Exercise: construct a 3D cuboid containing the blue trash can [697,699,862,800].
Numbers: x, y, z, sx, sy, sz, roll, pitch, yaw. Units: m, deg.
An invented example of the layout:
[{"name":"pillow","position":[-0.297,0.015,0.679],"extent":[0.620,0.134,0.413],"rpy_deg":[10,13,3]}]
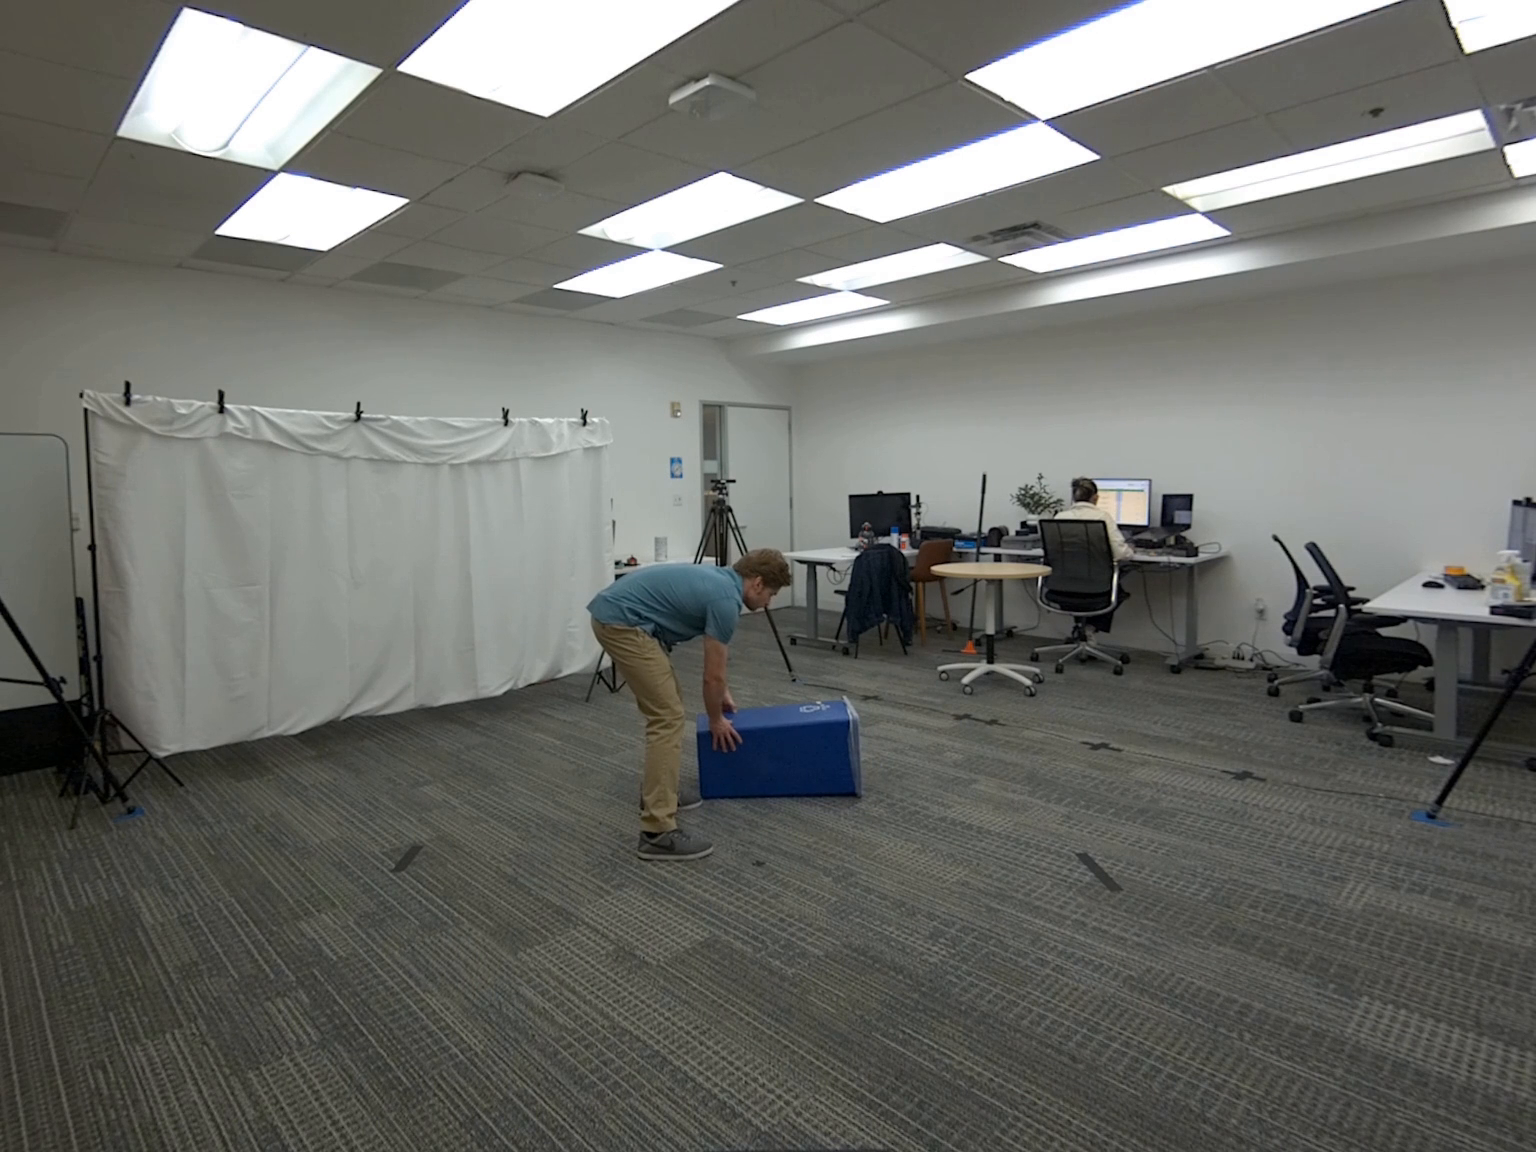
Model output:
[{"name":"blue trash can","position":[0.044,0.794,3.887],"extent":[0.712,0.377,0.376],"rpy_deg":[-4,5,-2]}]
